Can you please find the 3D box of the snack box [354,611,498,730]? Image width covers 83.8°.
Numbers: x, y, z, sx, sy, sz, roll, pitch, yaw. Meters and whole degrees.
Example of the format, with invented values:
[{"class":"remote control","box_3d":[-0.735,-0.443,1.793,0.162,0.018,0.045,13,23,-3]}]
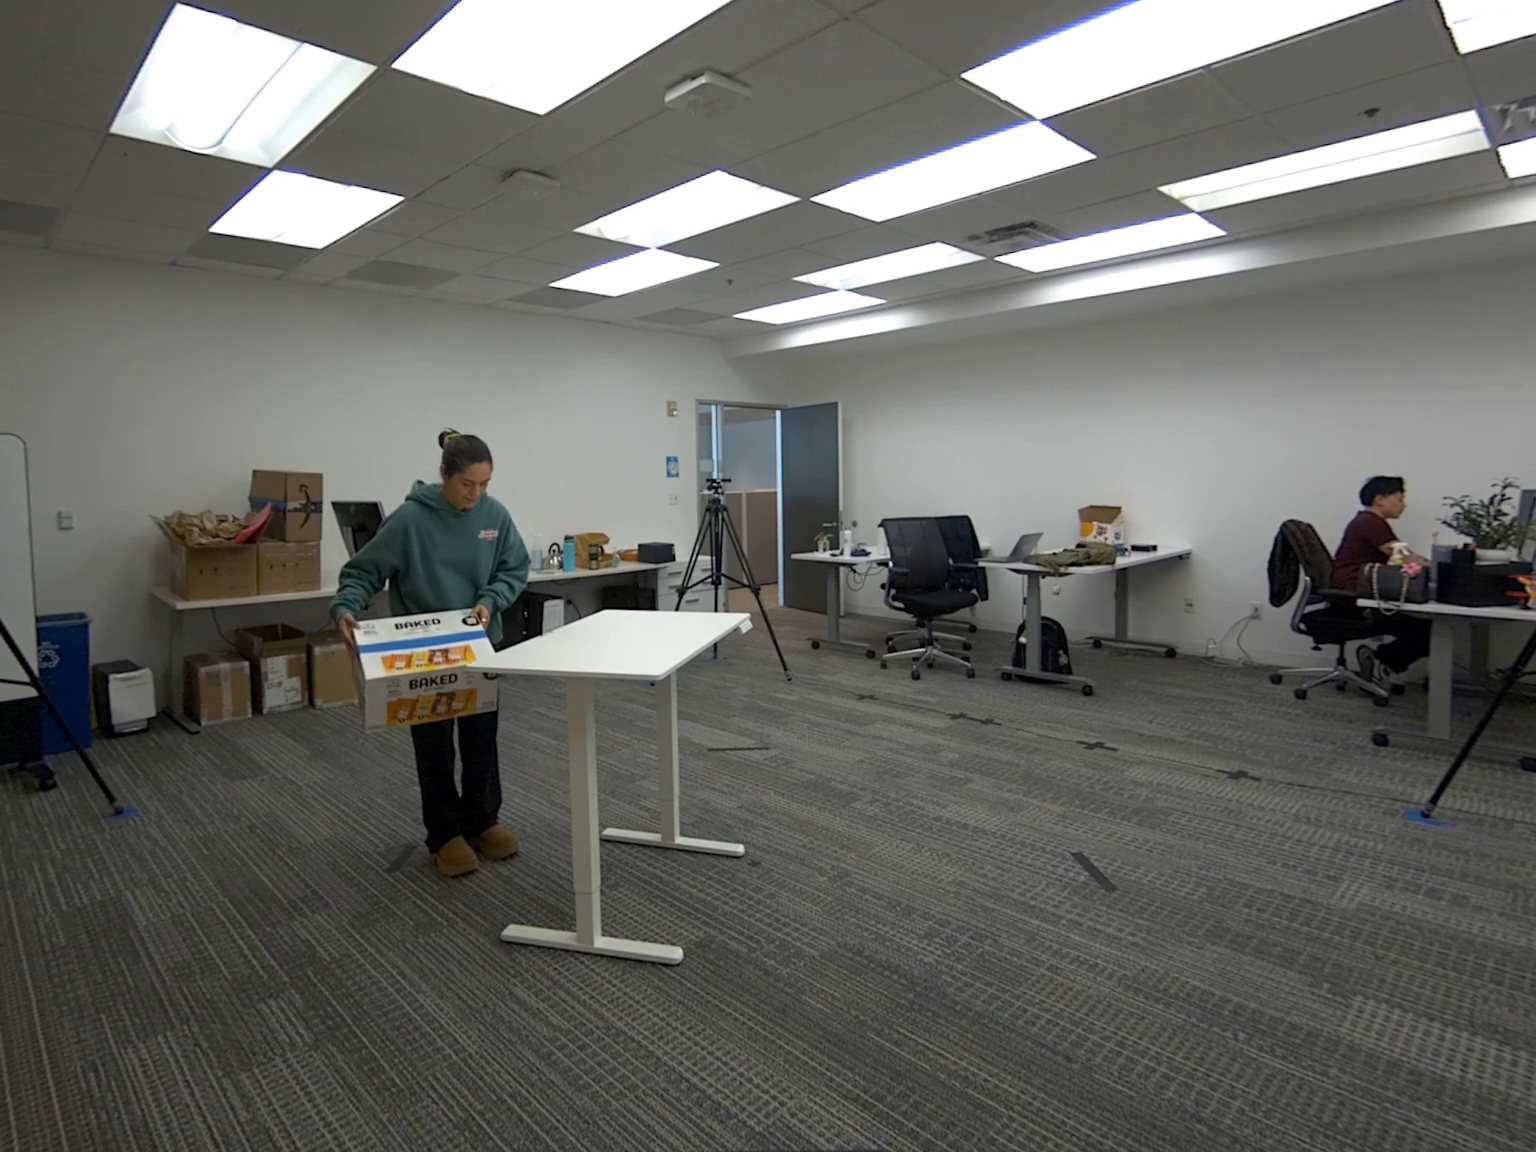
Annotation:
[{"class":"snack box","box_3d":[-1.135,0.305,2.815,0.396,0.202,0.354,-6,30,-30]}]
